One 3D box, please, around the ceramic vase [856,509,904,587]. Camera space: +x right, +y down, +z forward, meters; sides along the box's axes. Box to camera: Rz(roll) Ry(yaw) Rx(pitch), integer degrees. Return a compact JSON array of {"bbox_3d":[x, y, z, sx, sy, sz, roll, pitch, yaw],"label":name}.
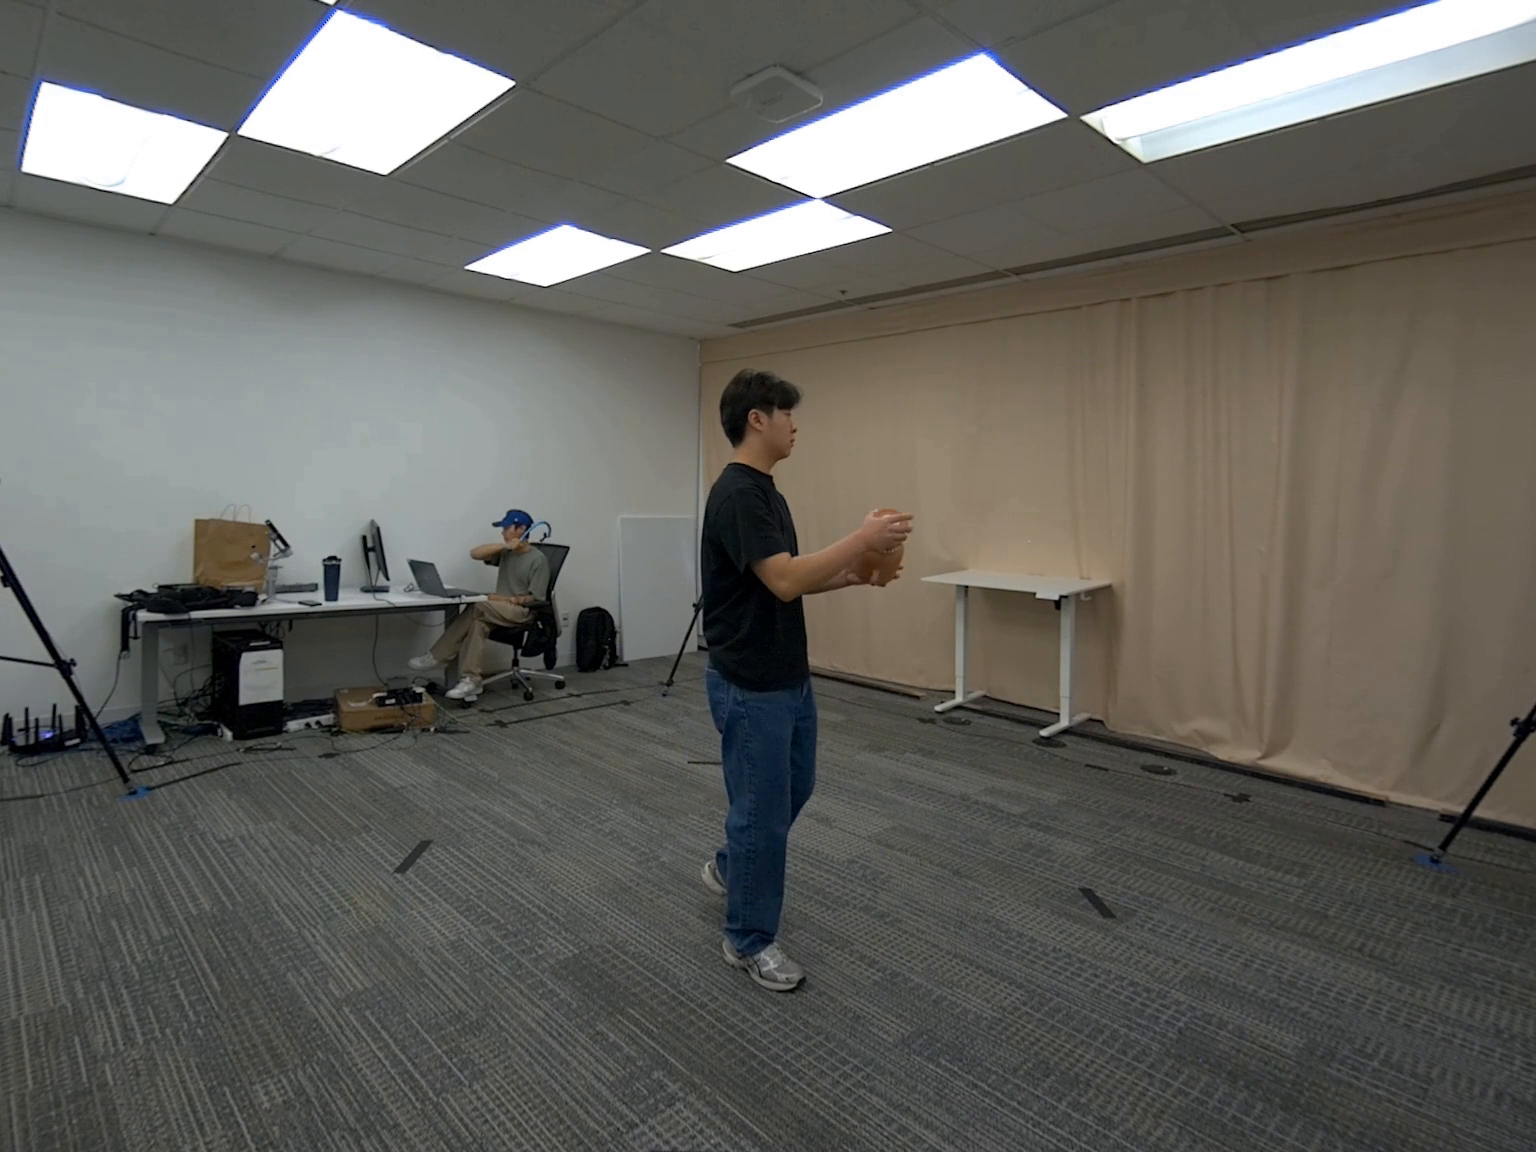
[{"bbox_3d":[0.309,-0.084,2.413,0.133,0.163,0.215,-23,-32,-19],"label":"ceramic vase"}]
